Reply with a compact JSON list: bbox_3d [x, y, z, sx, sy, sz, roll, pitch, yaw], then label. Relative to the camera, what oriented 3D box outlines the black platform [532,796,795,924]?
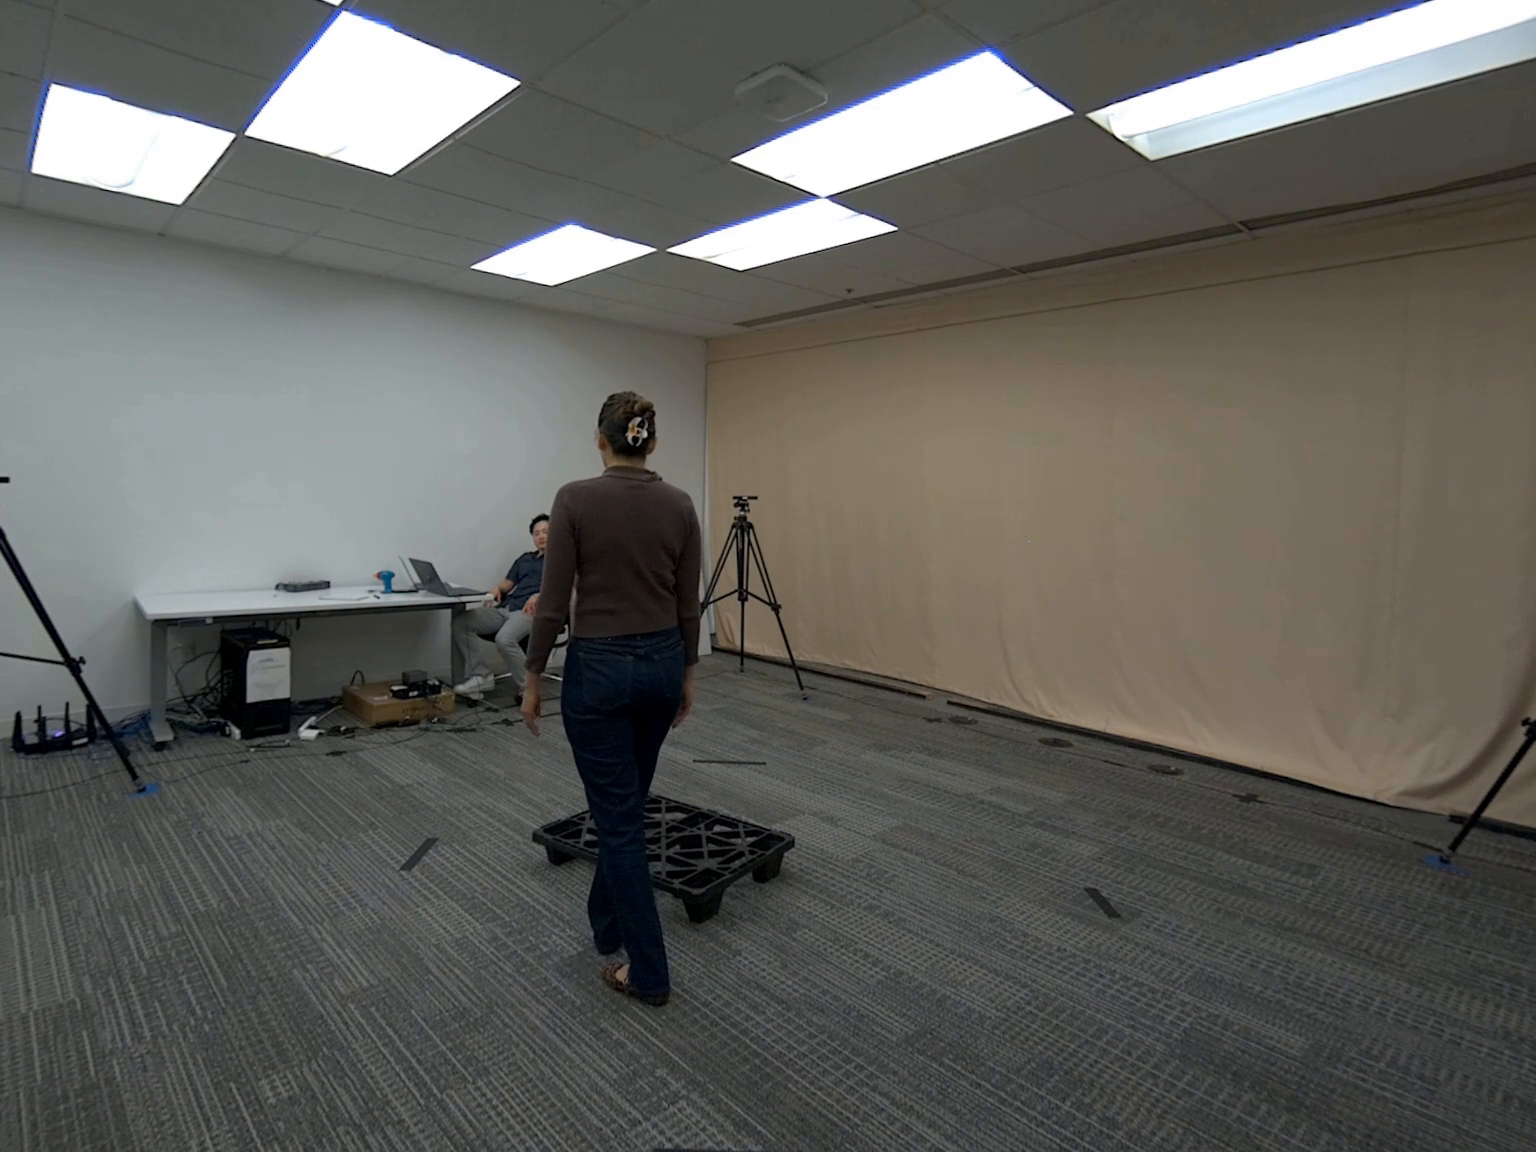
[{"bbox_3d":[-0.396,1.025,3.139,0.825,0.143,0.592,5,6,35],"label":"black platform"}]
